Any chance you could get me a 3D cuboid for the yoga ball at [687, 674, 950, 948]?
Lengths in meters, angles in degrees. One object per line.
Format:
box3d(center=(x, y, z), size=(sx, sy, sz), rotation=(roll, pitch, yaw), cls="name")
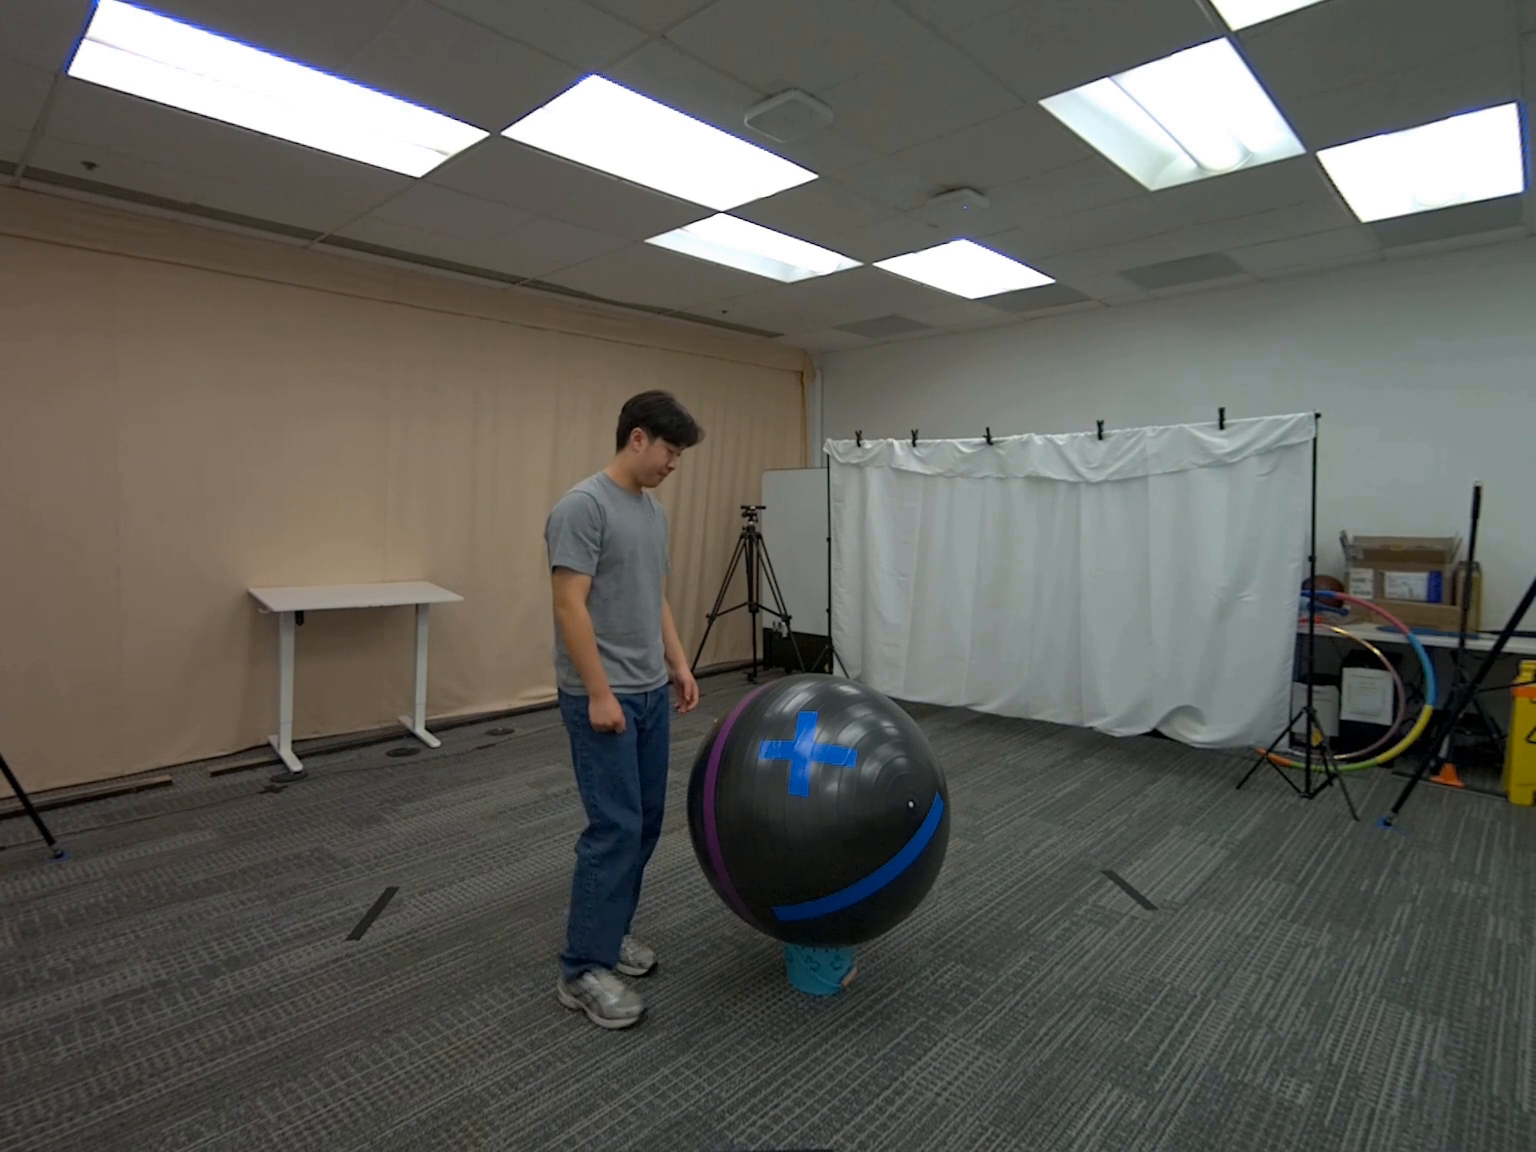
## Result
box3d(center=(0.148, 0.677, 2.461), size=(0.757, 0.756, 0.760), rotation=(0, 4, -2), cls="yoga ball")
